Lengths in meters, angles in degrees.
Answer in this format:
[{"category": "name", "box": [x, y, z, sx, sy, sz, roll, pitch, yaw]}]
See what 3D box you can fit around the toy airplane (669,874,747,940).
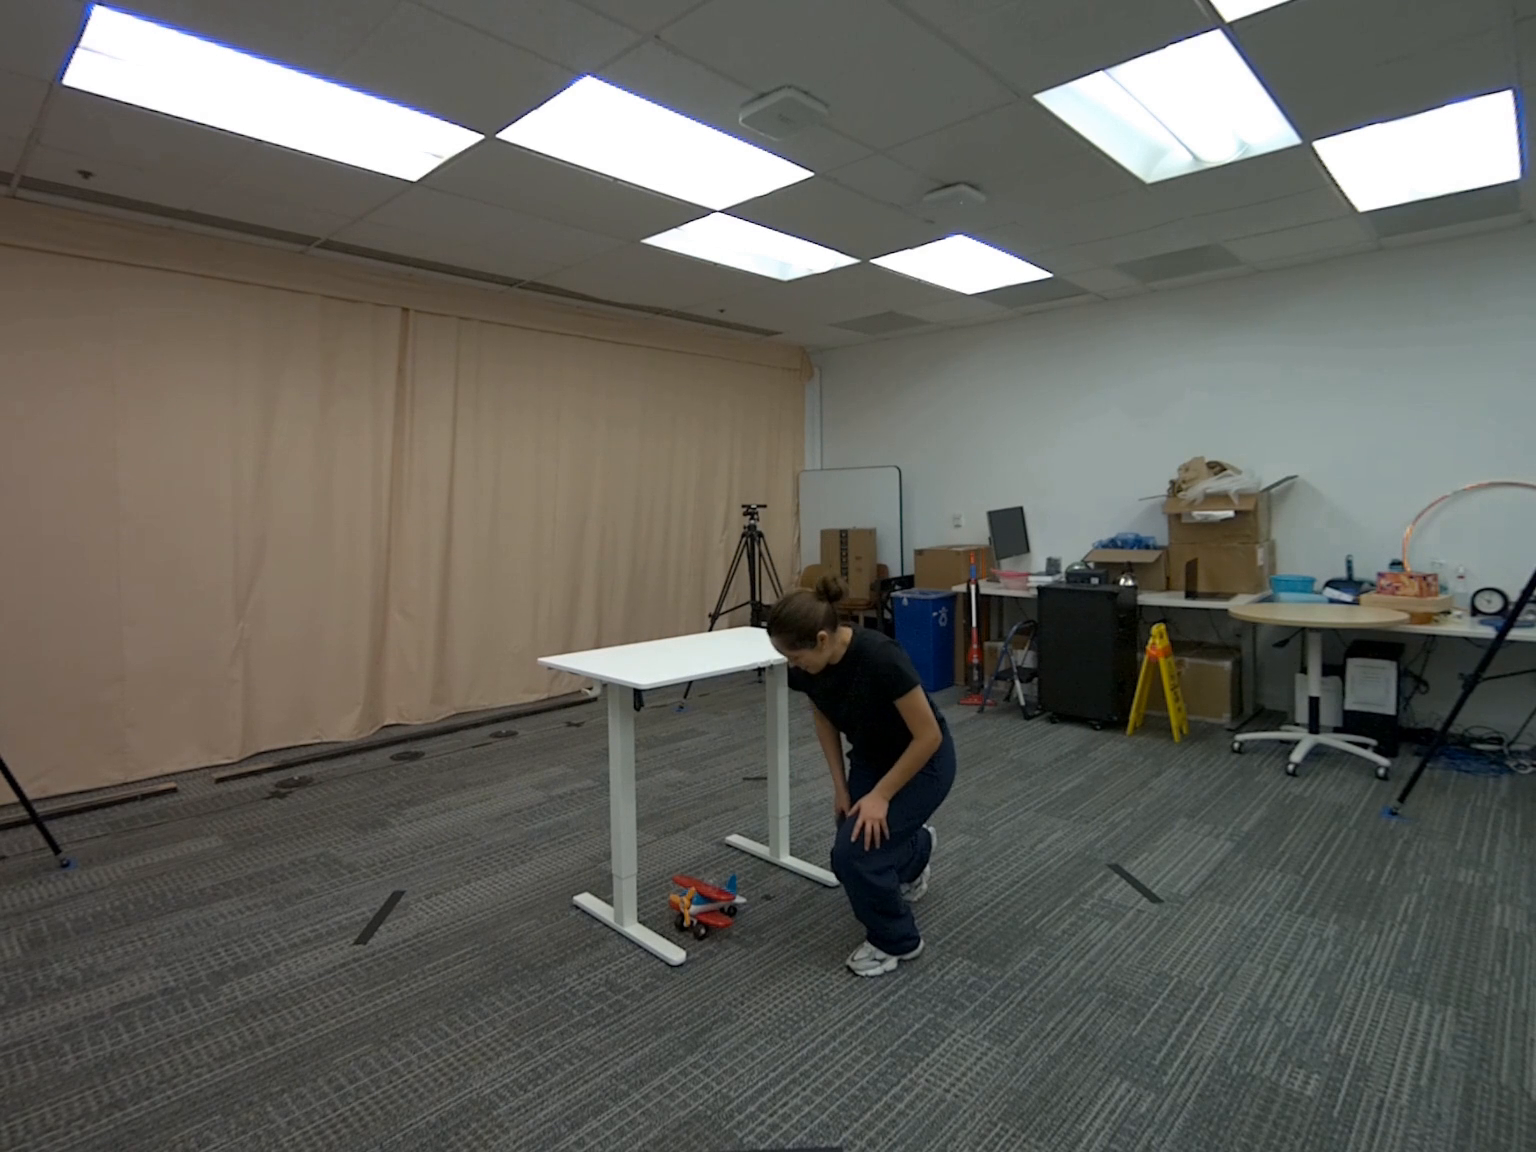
[{"category": "toy airplane", "box": [-0.194, 1.087, 2.804, 0.255, 0.156, 0.256, -1, 6, 14]}]
